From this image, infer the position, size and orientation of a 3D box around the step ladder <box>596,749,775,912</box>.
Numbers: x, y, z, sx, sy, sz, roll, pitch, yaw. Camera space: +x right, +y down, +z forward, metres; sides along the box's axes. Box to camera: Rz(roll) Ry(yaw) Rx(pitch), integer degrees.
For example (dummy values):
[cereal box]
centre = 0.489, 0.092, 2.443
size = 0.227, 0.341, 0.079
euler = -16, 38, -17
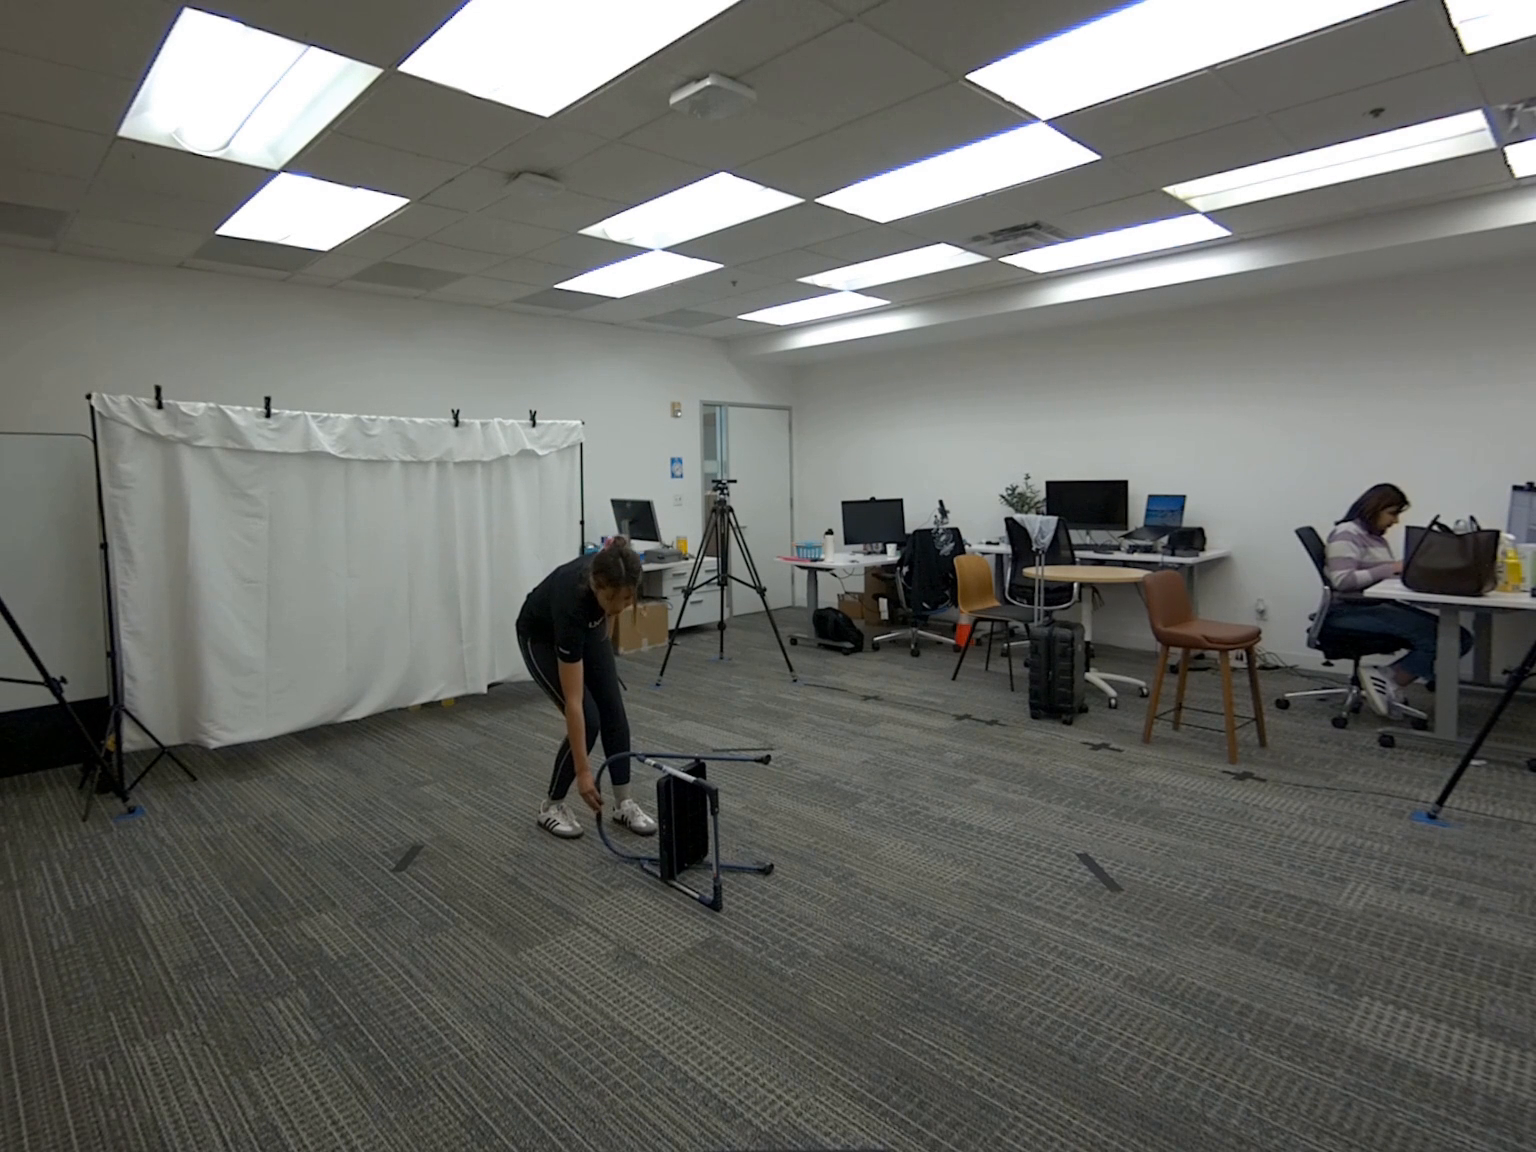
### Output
[step ladder]
centre = -0.333, 0.850, 3.046
size = 0.623, 0.429, 0.341
euler = 2, 6, 33
